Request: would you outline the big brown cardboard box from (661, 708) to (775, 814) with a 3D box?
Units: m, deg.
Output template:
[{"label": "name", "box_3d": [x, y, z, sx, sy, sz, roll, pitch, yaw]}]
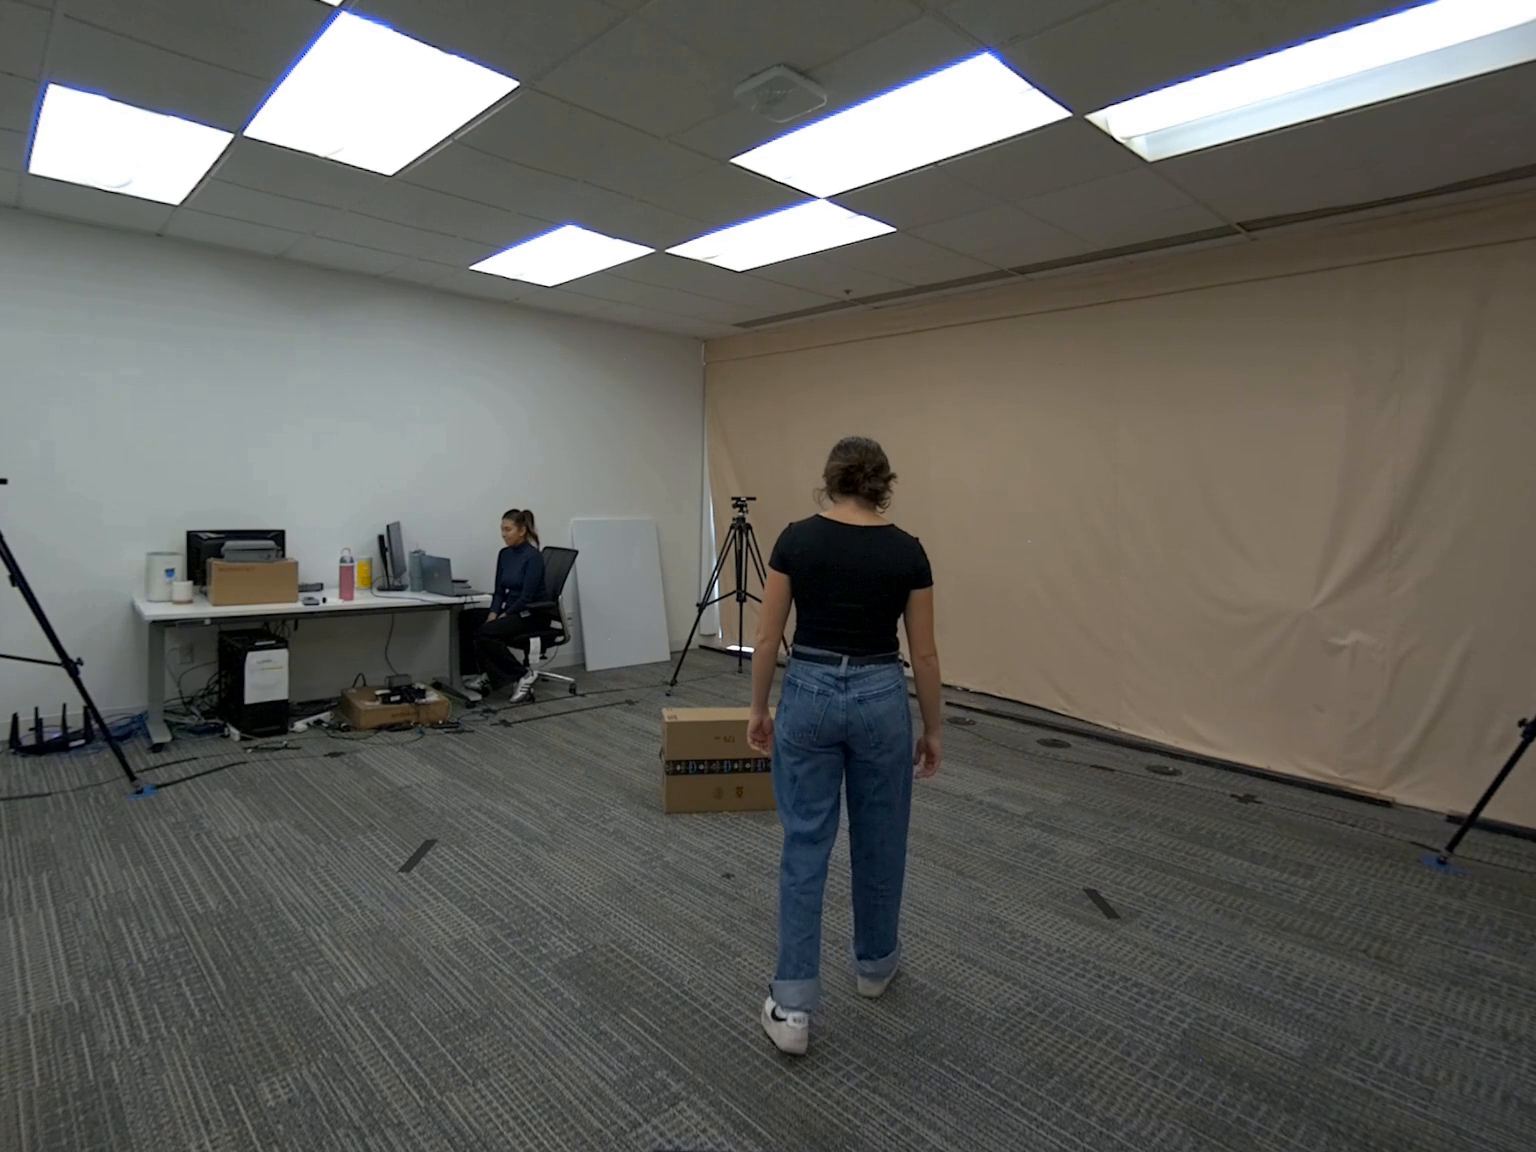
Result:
[{"label": "big brown cardboard box", "box_3d": [-0.212, 0.833, 3.842, 0.584, 0.416, 0.235, 1, 4, -9]}]
